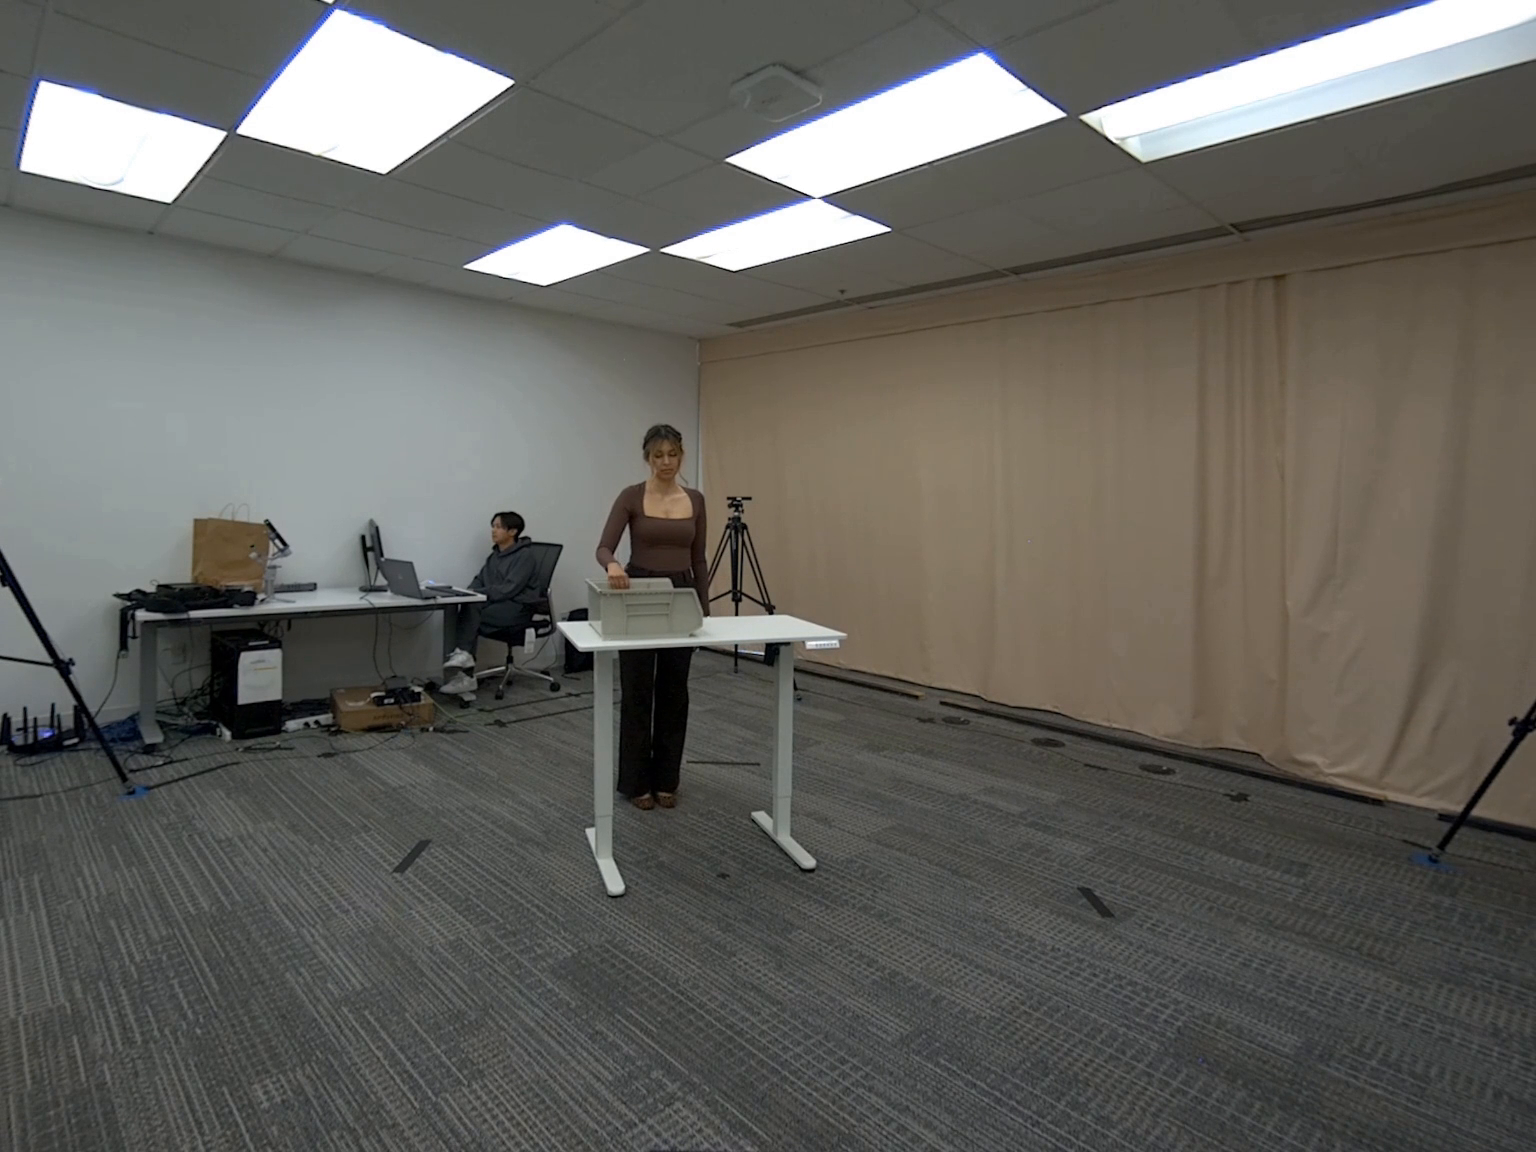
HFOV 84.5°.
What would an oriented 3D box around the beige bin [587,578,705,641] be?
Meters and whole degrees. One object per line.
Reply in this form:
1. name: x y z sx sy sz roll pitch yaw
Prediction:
1. beige bin: -0.487 0.119 3.192 0.372 0.188 0.429 -2 6 -18
